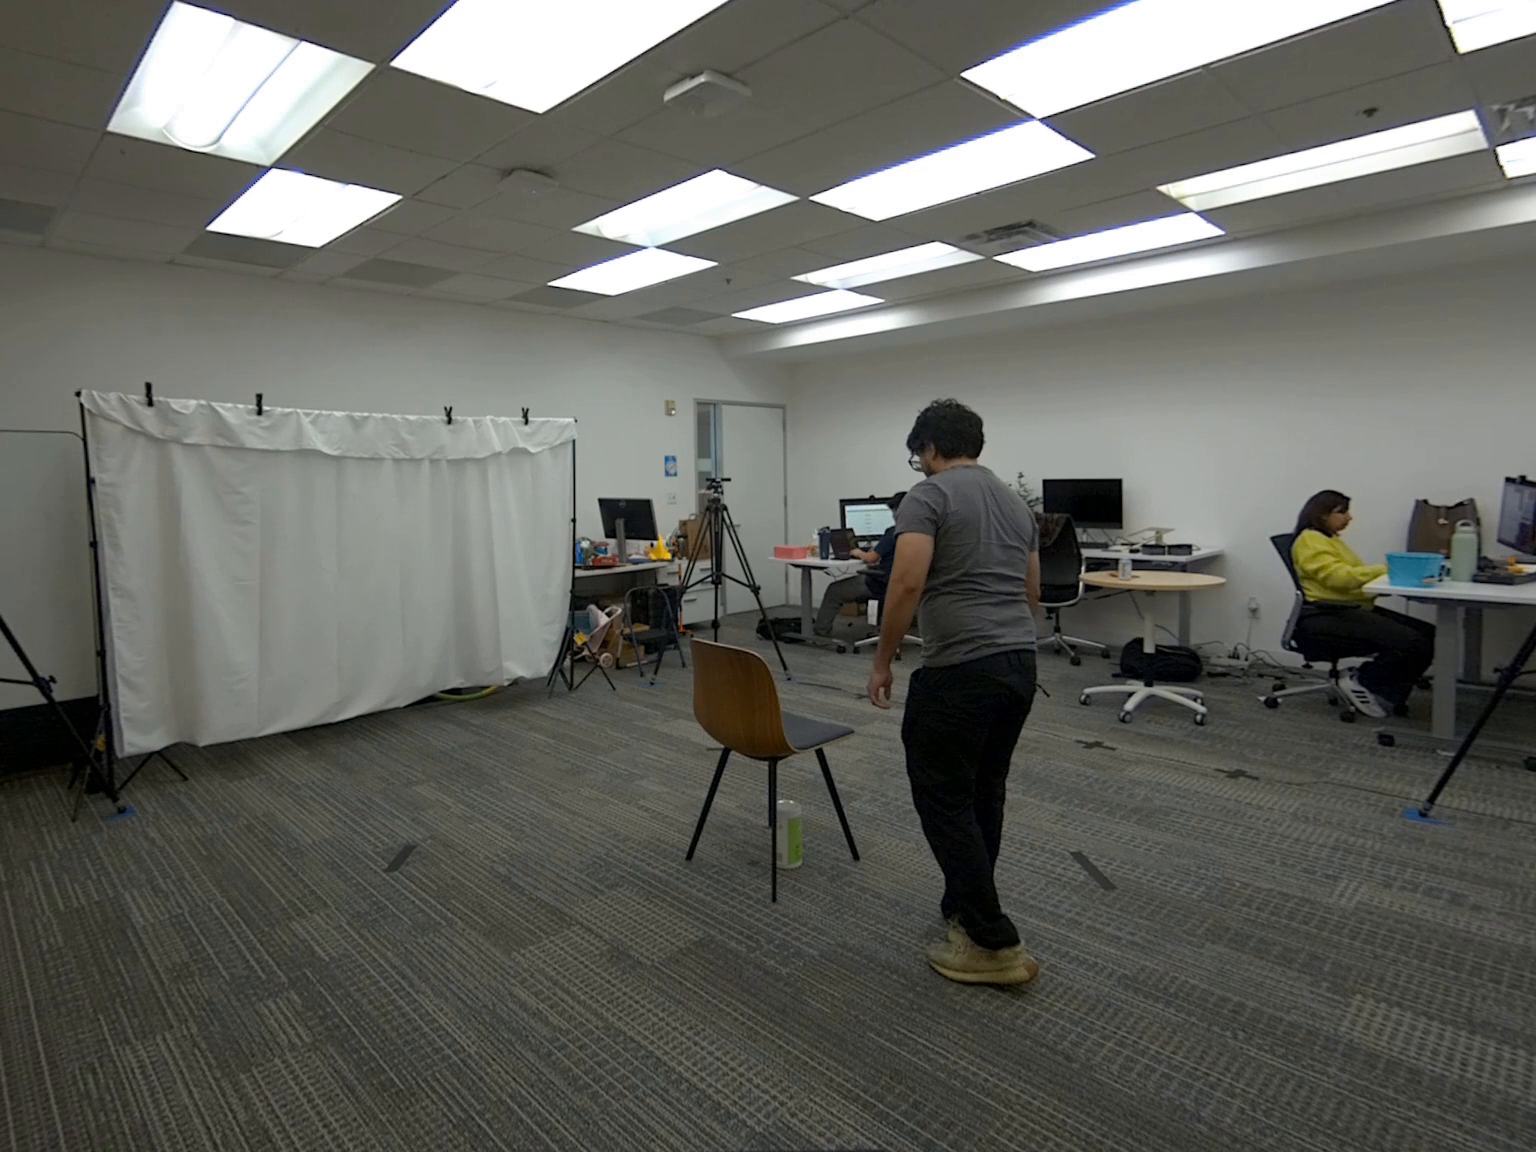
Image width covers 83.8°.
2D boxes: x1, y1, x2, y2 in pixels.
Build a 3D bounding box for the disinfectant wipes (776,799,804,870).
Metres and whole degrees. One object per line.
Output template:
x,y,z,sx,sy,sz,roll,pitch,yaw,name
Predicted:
0.079,0.944,3.086,0.118,0.217,0.118,0,4,-2,disinfectant wipes
